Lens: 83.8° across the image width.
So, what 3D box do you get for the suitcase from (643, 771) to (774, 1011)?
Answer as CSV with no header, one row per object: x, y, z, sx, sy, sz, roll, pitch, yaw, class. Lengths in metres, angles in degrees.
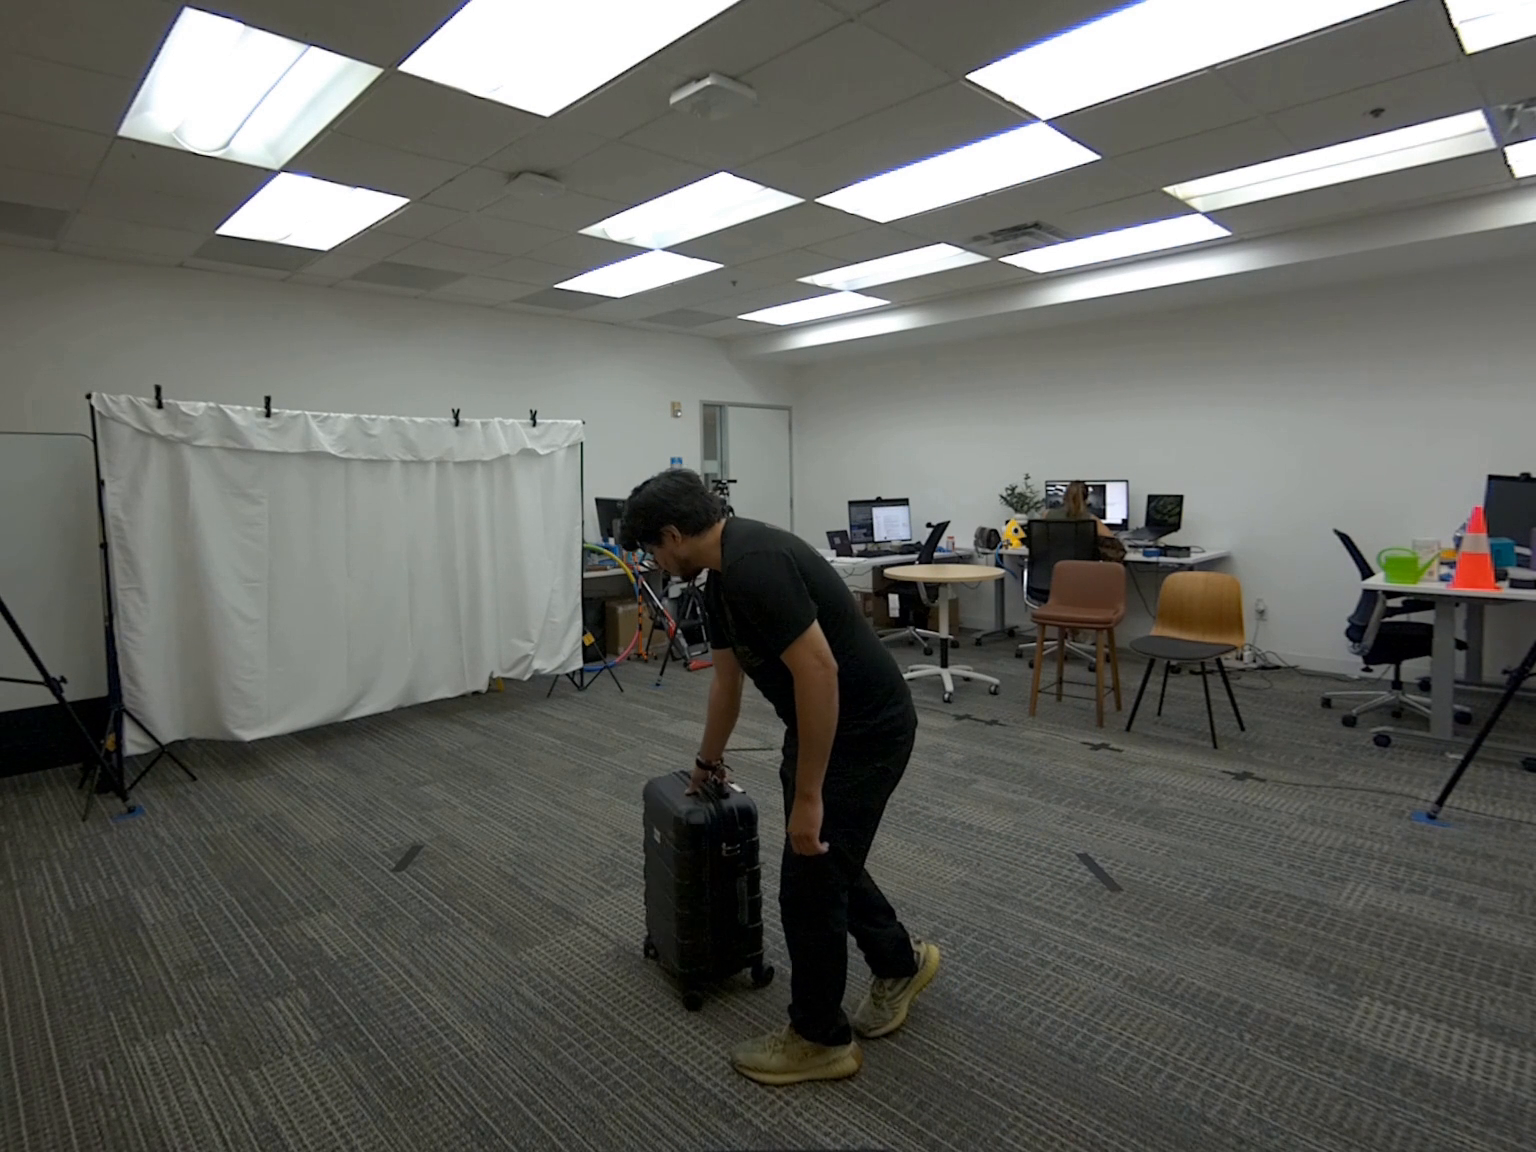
-0.187,0.852,2.432,0.243,0.547,0.385,-3,6,-26,suitcase
